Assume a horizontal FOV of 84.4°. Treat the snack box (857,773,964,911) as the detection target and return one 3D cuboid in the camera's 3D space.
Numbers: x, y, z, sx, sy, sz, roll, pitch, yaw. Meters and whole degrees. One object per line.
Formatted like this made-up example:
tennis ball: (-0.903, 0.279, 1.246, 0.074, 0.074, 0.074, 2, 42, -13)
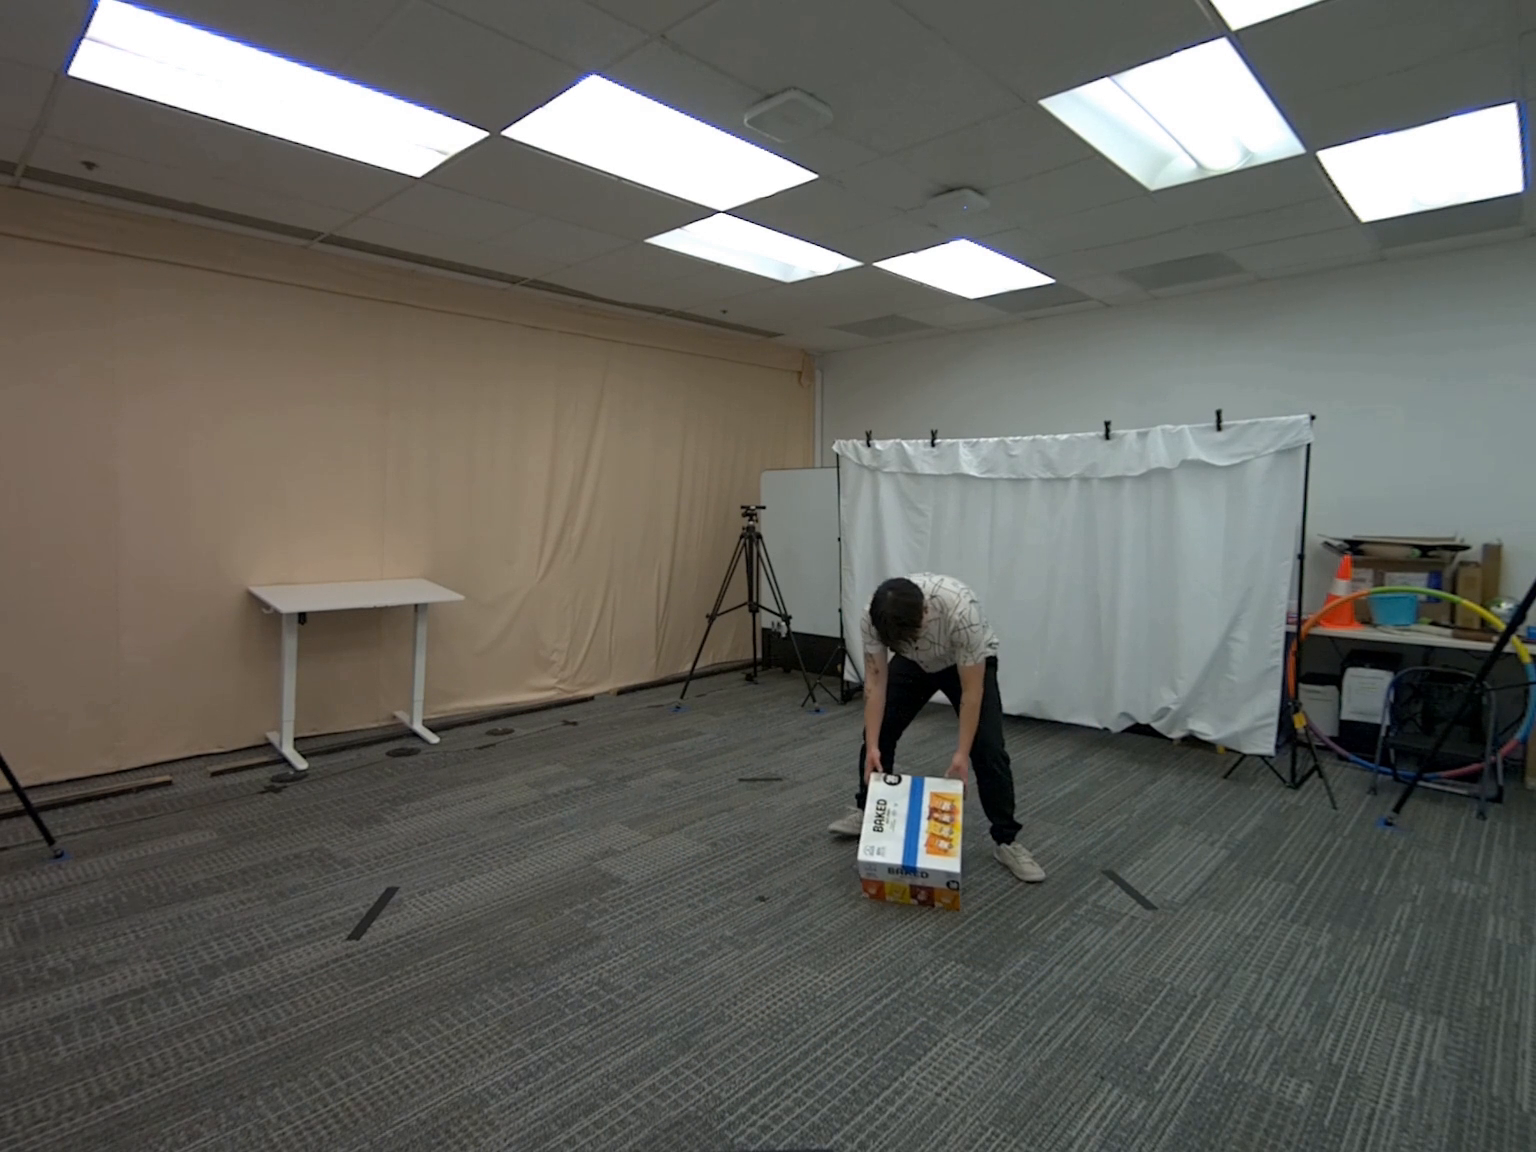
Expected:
snack box: (0.529, 0.947, 3.047, 0.347, 0.201, 0.407, 1, 35, 16)
